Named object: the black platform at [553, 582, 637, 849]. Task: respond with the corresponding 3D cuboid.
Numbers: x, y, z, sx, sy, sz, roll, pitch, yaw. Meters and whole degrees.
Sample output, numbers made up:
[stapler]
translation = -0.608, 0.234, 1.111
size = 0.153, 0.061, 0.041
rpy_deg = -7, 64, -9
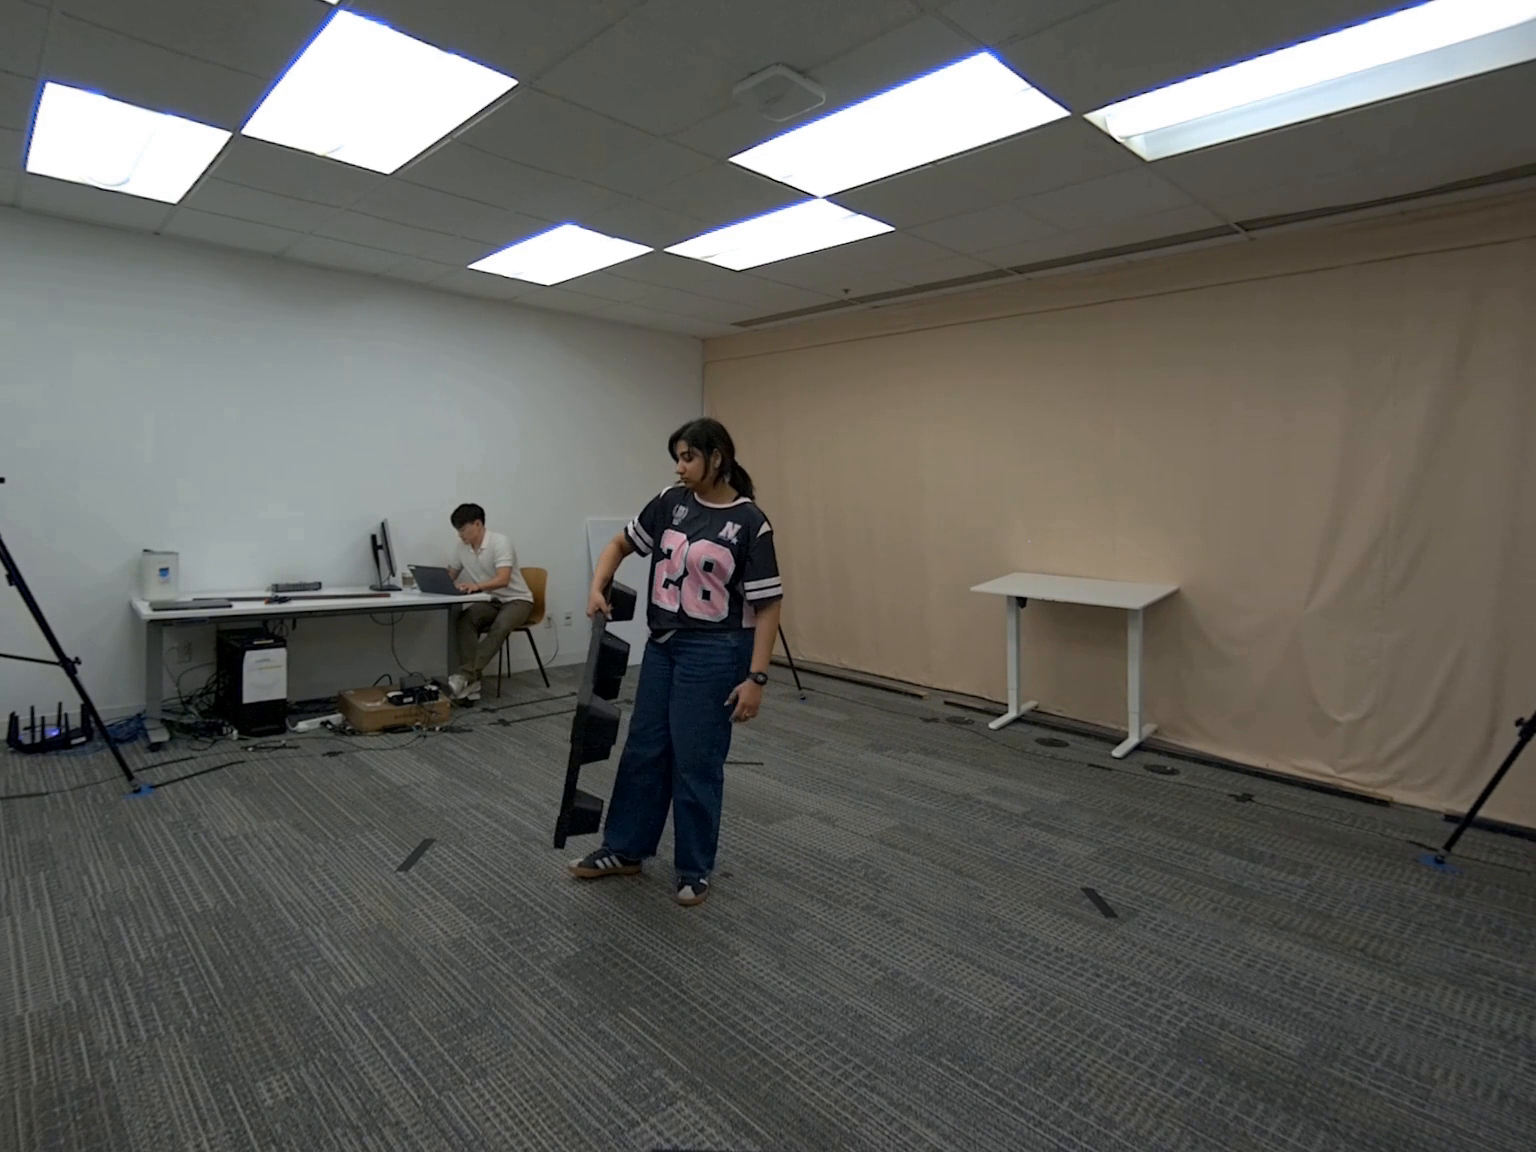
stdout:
[black platform]
translation = -0.576, 0.422, 2.885
size = 0.142, 0.598, 0.822
rpy_deg = 11, 28, -10
